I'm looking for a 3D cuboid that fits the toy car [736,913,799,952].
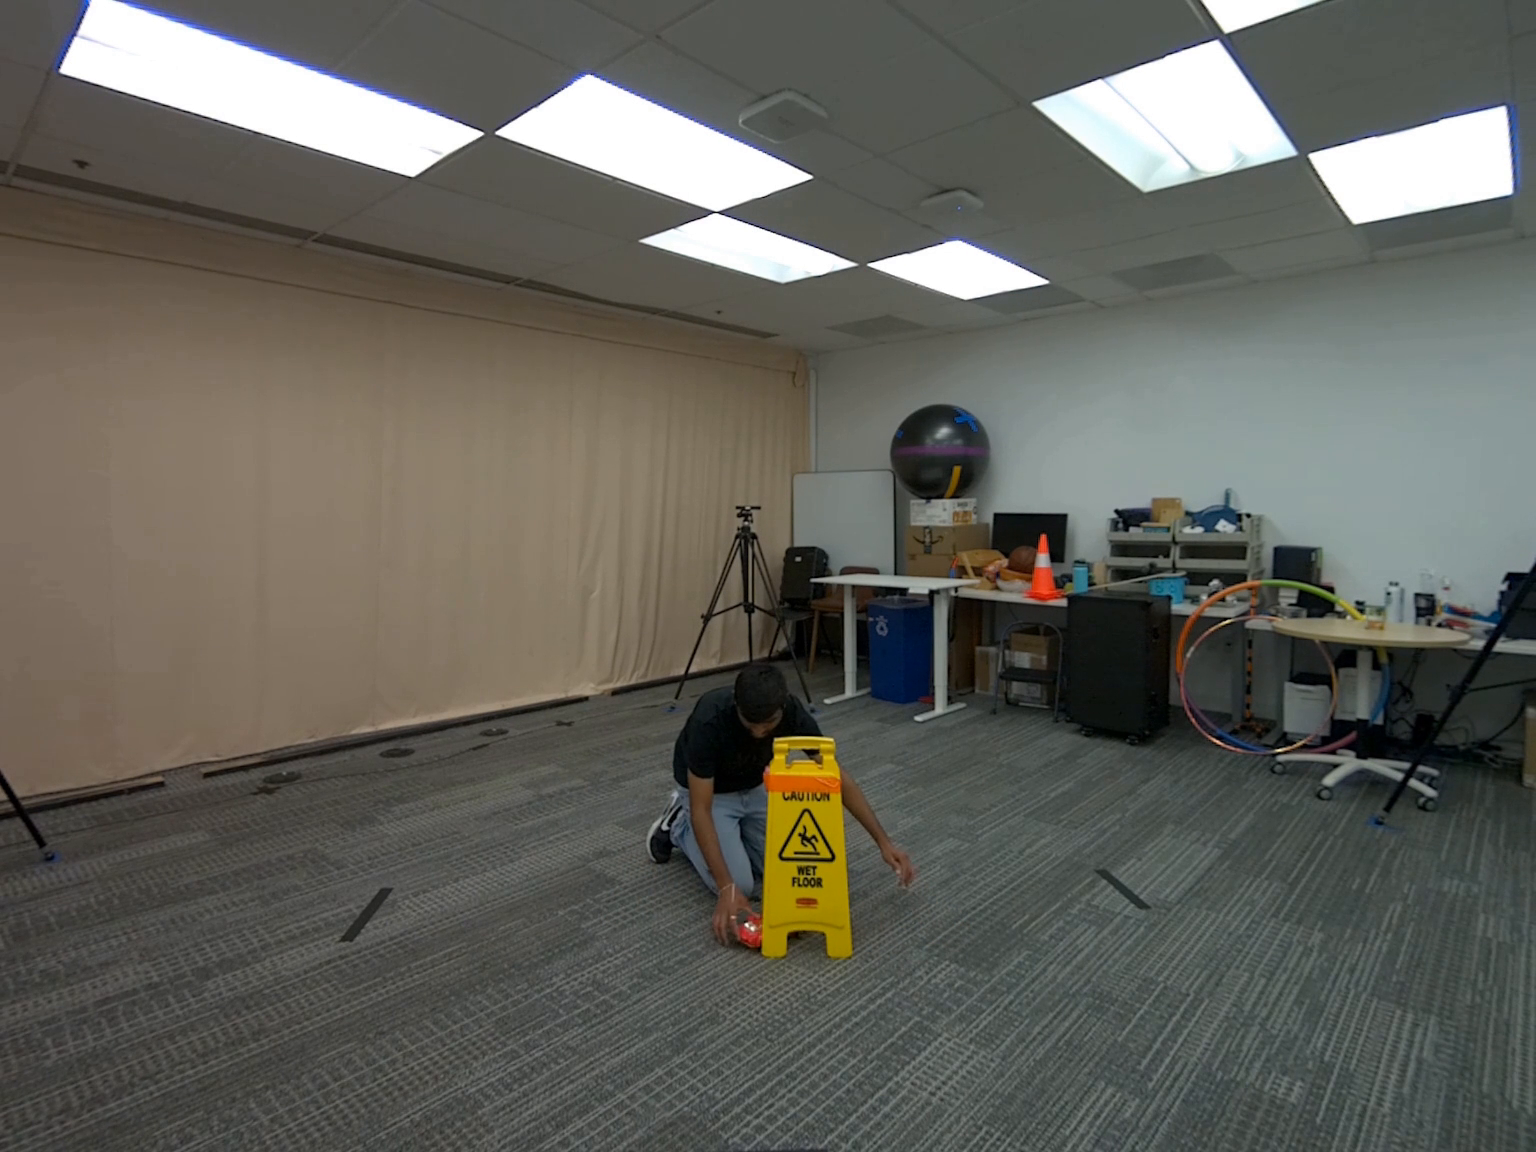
[{"bbox_3d":[0.006,1.134,2.705,0.247,0.083,0.134,8,1,-32],"label":"toy car"}]
